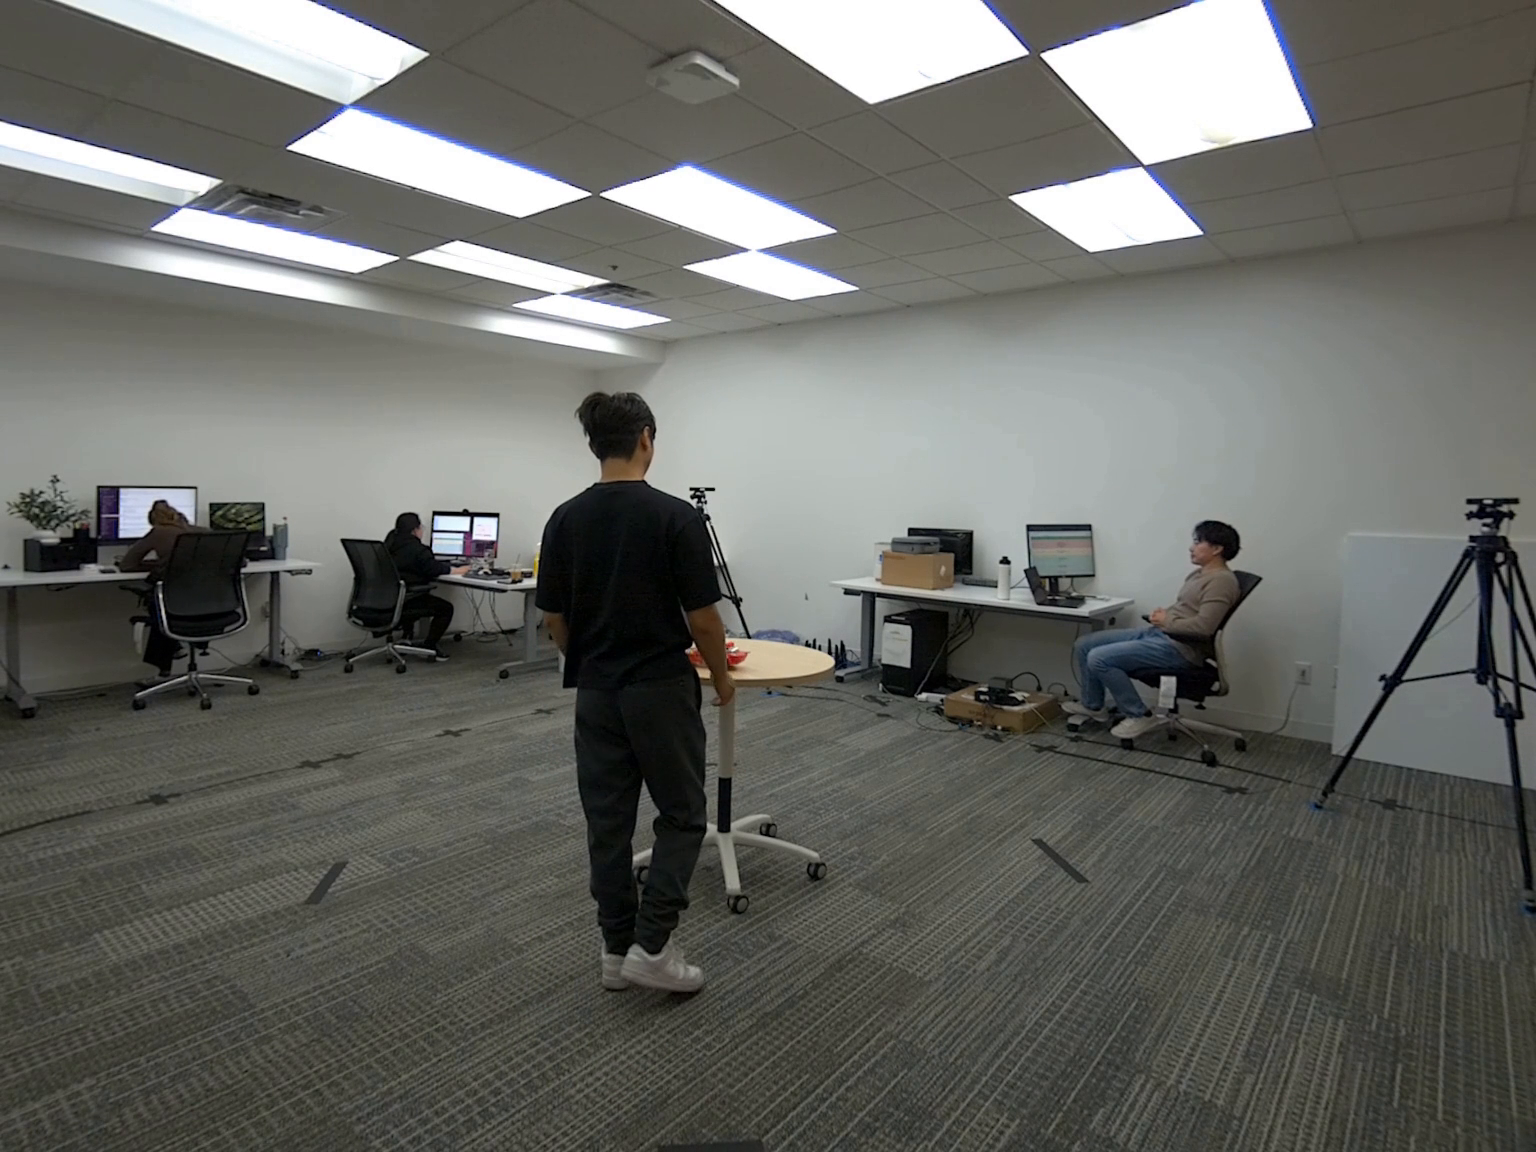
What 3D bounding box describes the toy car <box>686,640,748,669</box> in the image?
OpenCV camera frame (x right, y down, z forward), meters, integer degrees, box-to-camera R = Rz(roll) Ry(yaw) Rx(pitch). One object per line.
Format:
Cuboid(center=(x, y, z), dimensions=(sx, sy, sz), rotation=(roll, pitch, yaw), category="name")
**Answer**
Cuboid(center=(-0.198, 0.273, 2.886), dimensions=(0.259, 0.083, 0.128), rotation=(-9, 1, 20), category="toy car")
